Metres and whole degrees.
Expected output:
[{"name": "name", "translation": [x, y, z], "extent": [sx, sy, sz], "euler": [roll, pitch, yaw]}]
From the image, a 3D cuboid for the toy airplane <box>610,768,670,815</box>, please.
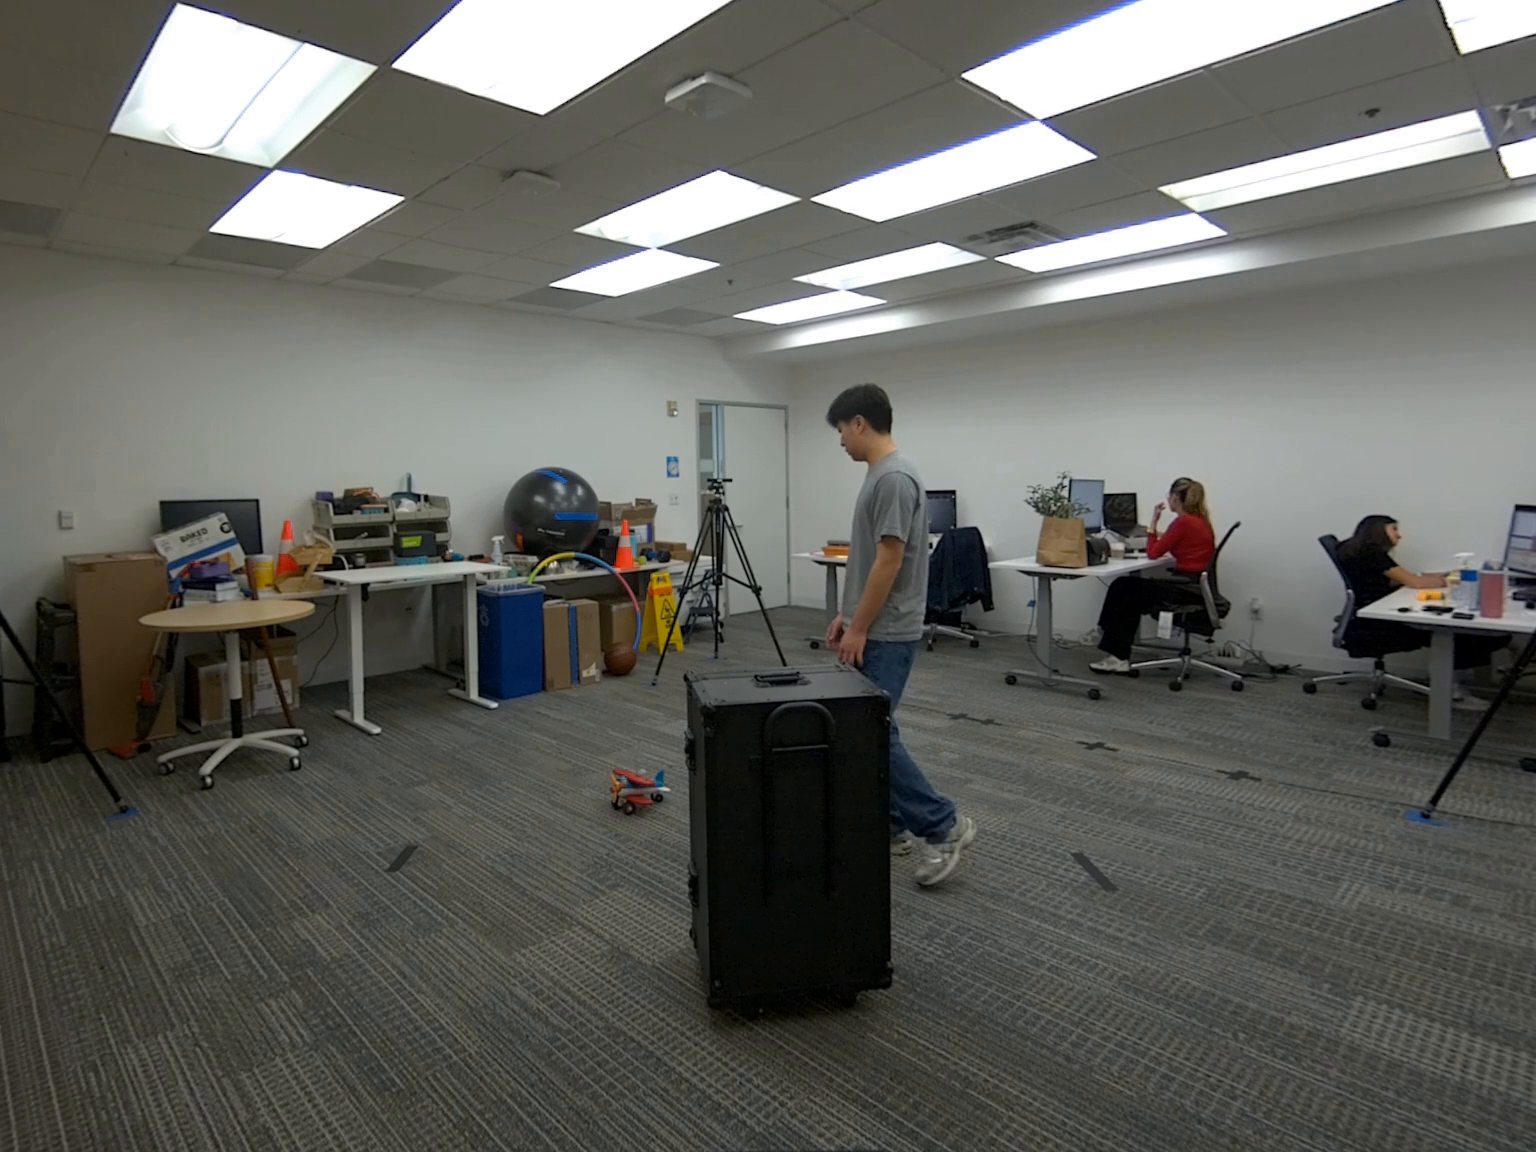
[{"name": "toy airplane", "translation": [-0.565, 0.918, 3.687], "extent": [0.256, 0.155, 0.256], "euler": [1, 7, 20]}]
